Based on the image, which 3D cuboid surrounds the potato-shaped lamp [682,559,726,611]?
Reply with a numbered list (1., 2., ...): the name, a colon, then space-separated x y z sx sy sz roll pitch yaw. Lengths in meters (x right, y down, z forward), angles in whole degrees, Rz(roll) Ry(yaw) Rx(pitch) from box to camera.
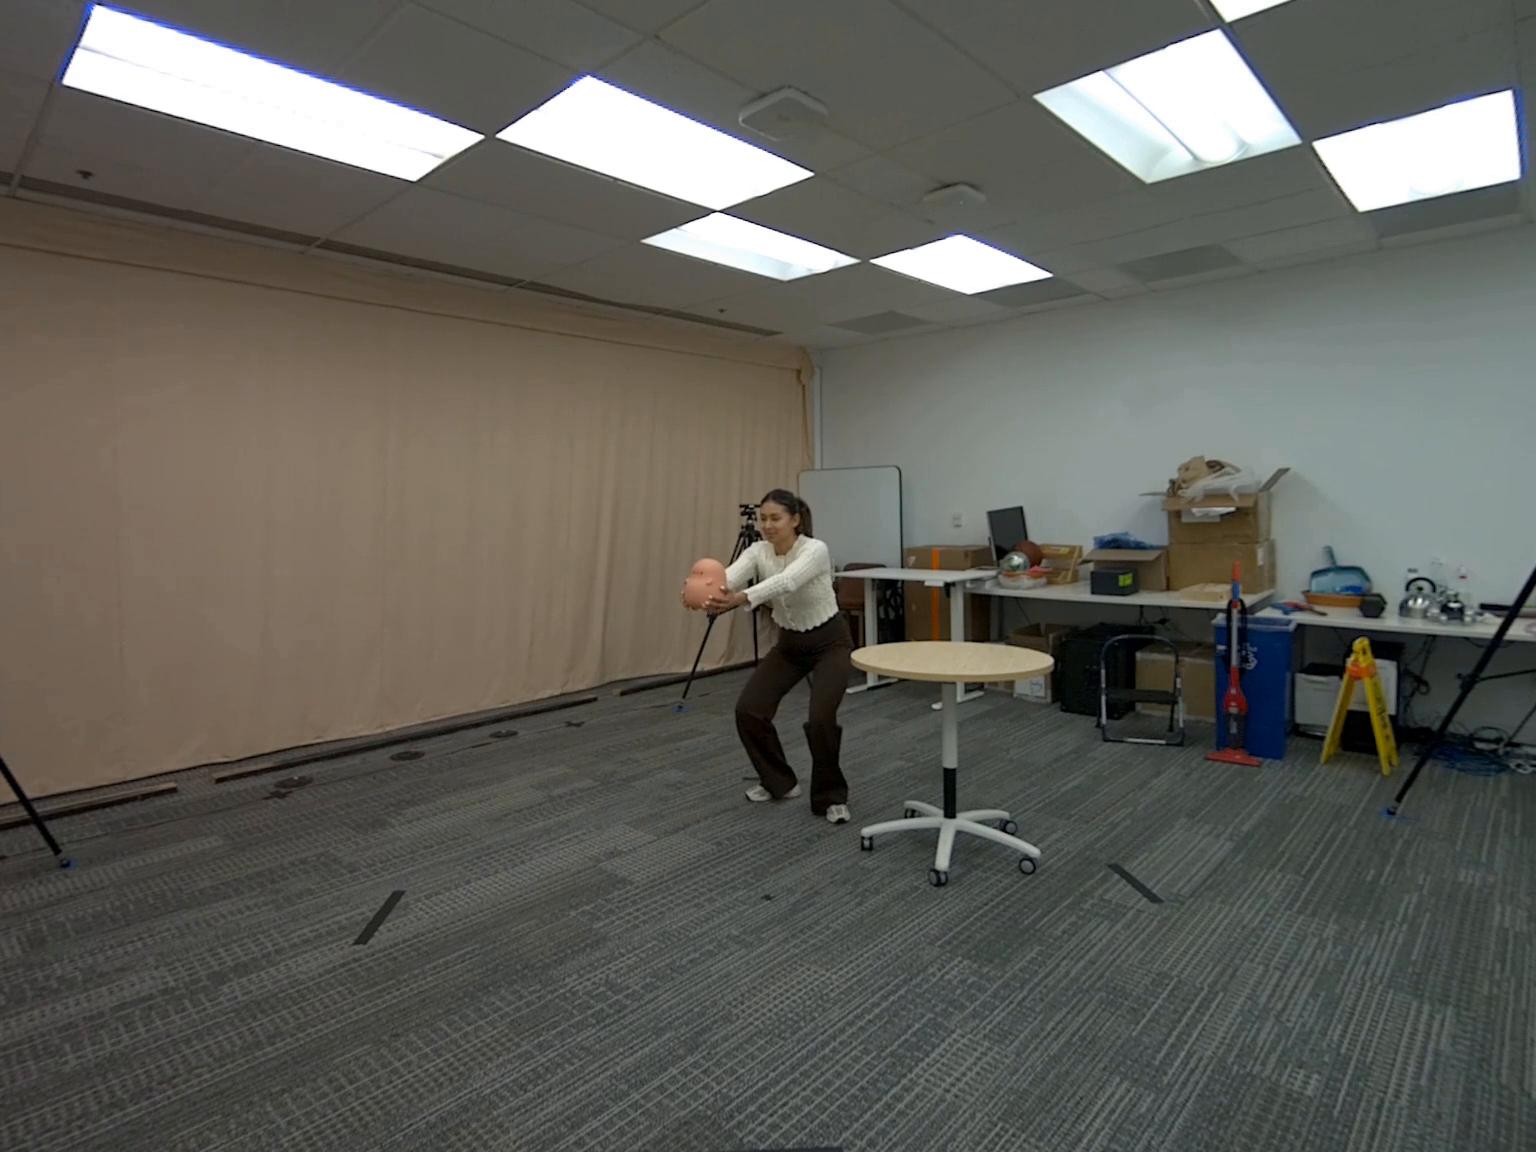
1. potato-shaped lamp: -0.239 0.033 3.316 0.170 0.198 0.166 5 3 41
